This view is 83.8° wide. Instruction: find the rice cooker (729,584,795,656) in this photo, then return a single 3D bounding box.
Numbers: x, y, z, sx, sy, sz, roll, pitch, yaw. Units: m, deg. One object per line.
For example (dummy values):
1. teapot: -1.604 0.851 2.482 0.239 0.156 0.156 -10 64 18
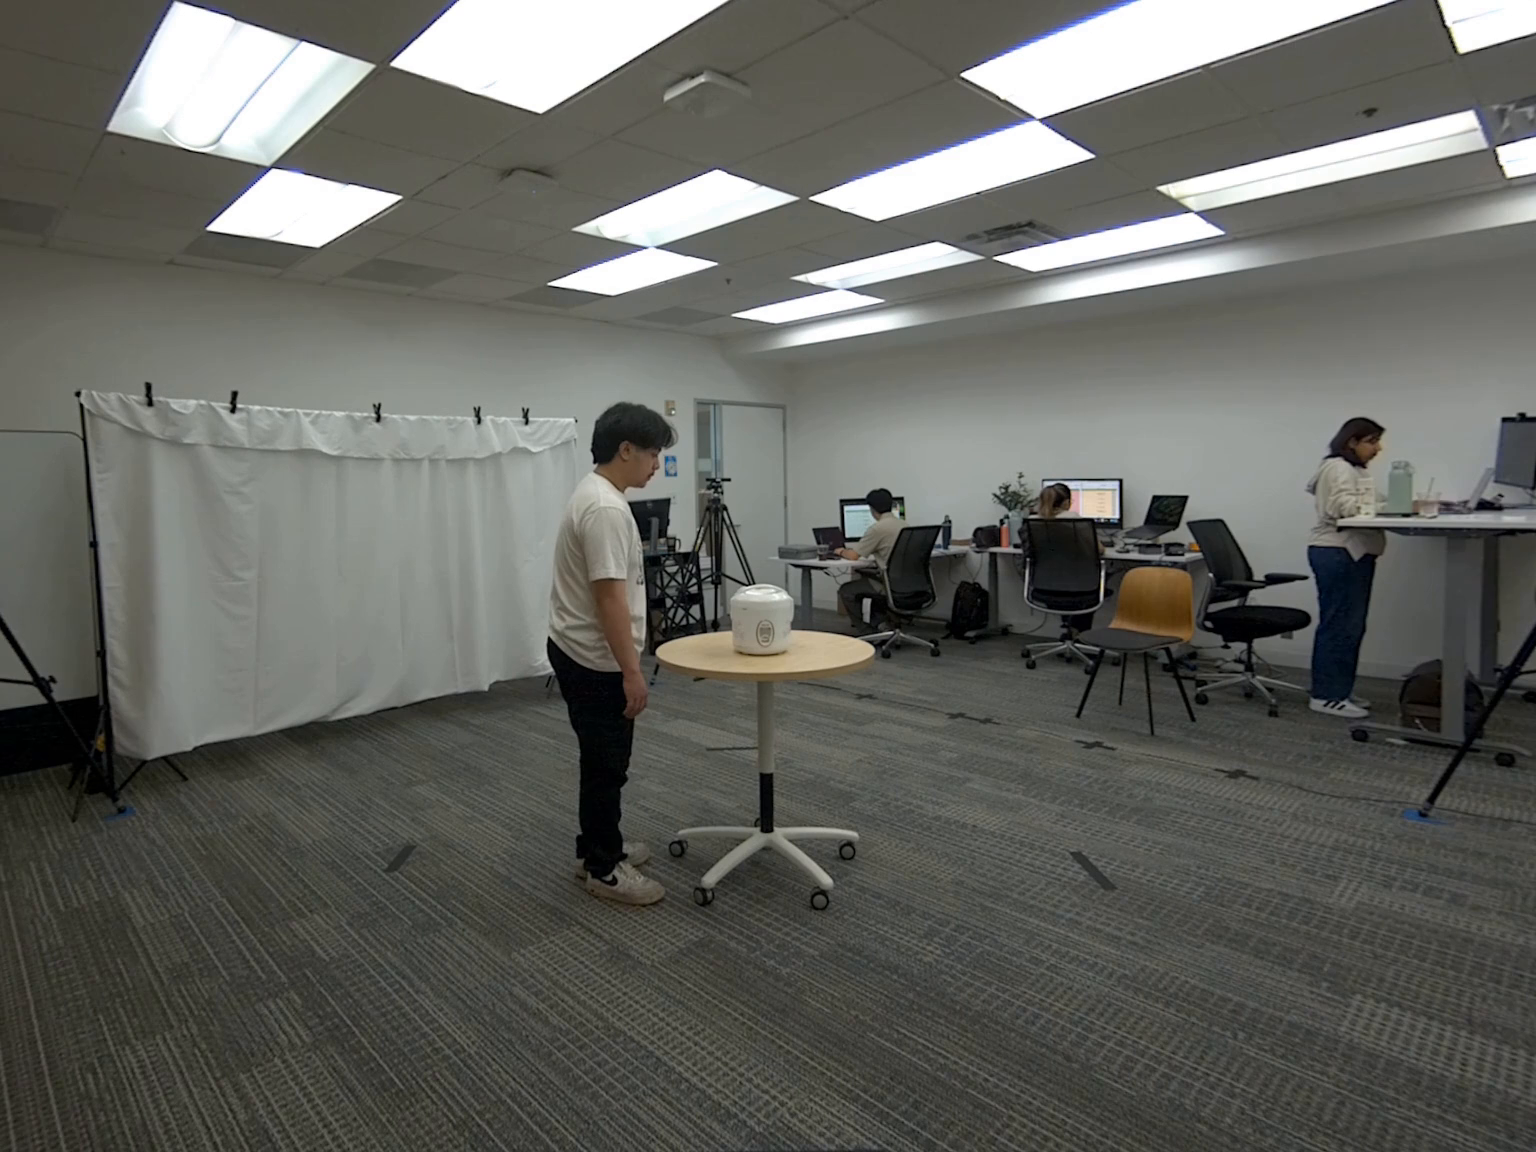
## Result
1. rice cooker: -0.018 0.141 2.957 0.219 0.232 0.219 -2 4 -6
